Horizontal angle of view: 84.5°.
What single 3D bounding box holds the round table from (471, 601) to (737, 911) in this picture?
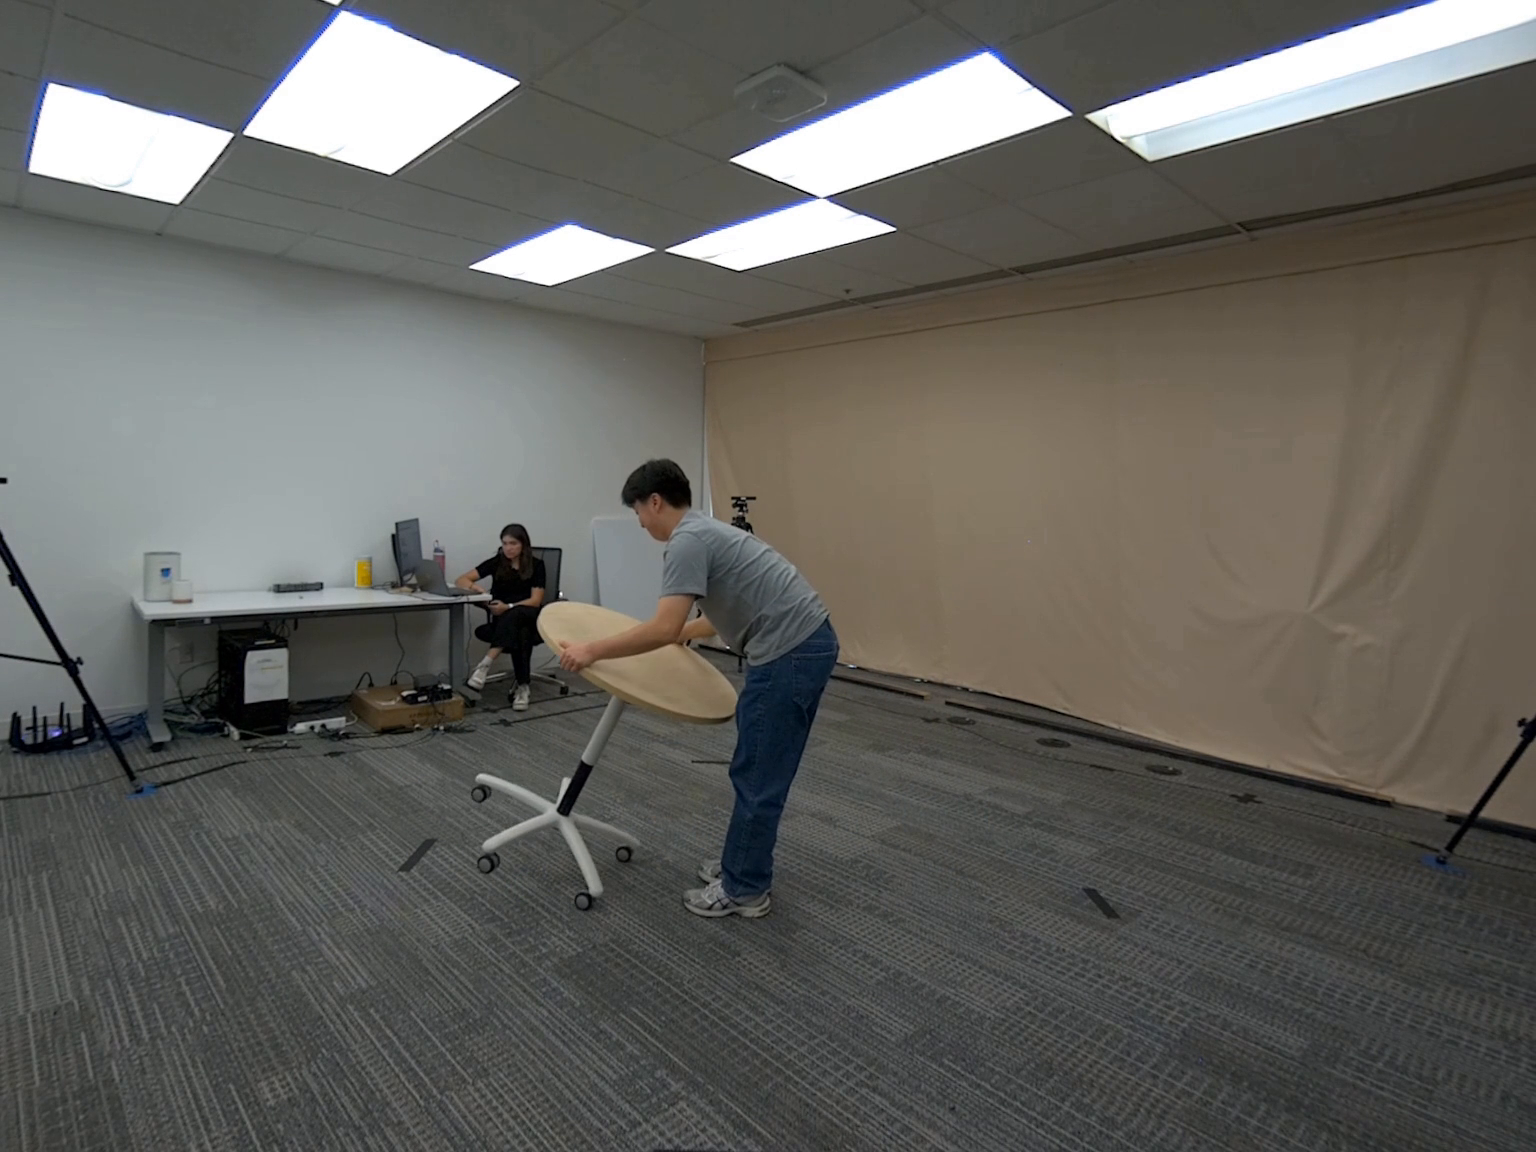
[{"bbox_3d":[-0.637,0.630,3.018,0.760,0.791,0.771,26,9,-6],"label":"round table"}]
